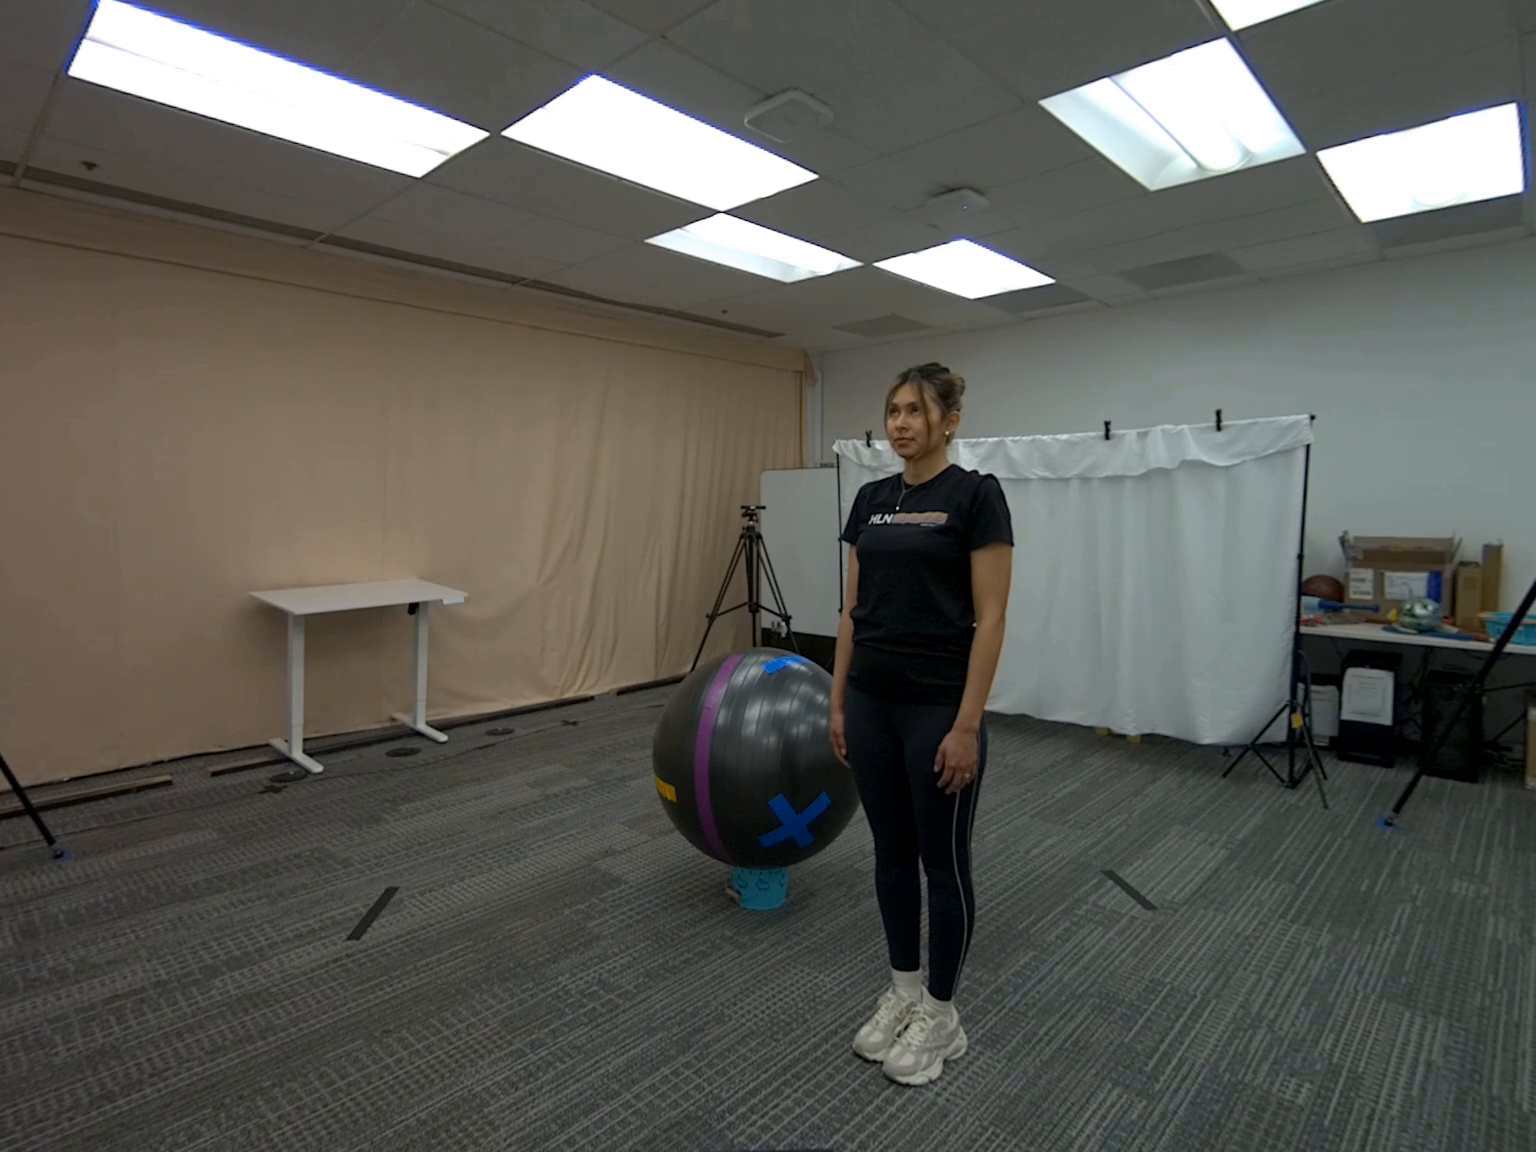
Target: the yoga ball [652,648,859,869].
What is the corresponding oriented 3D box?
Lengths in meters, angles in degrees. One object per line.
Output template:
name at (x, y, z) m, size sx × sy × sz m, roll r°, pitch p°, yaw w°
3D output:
yoga ball at (-0.024, 0.632, 2.970) m, size 0.757 × 0.756 × 0.761 m, roll 0°, pitch 4°, yaw -2°
